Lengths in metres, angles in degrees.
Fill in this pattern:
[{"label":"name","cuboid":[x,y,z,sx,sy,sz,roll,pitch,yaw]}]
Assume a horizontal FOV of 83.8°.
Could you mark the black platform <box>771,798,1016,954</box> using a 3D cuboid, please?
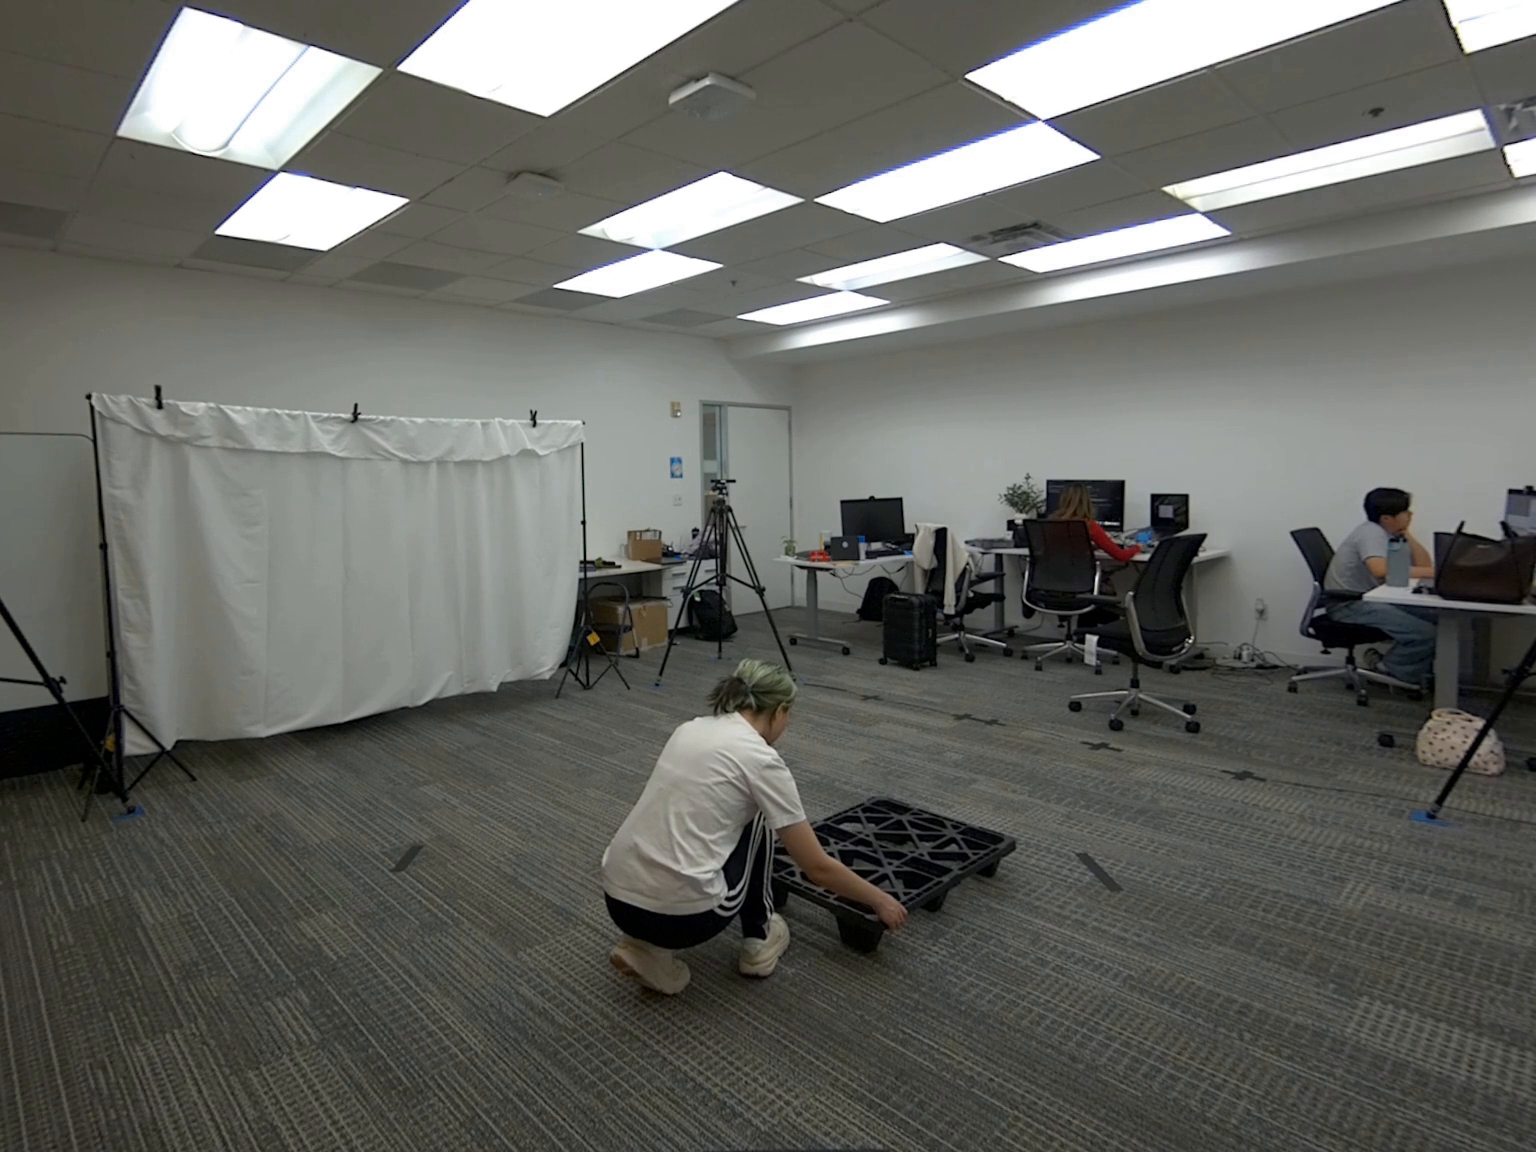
[{"label":"black platform","cuboid":[0.375,0.994,2.921,0.784,0.143,0.624,-7,8,-44]}]
